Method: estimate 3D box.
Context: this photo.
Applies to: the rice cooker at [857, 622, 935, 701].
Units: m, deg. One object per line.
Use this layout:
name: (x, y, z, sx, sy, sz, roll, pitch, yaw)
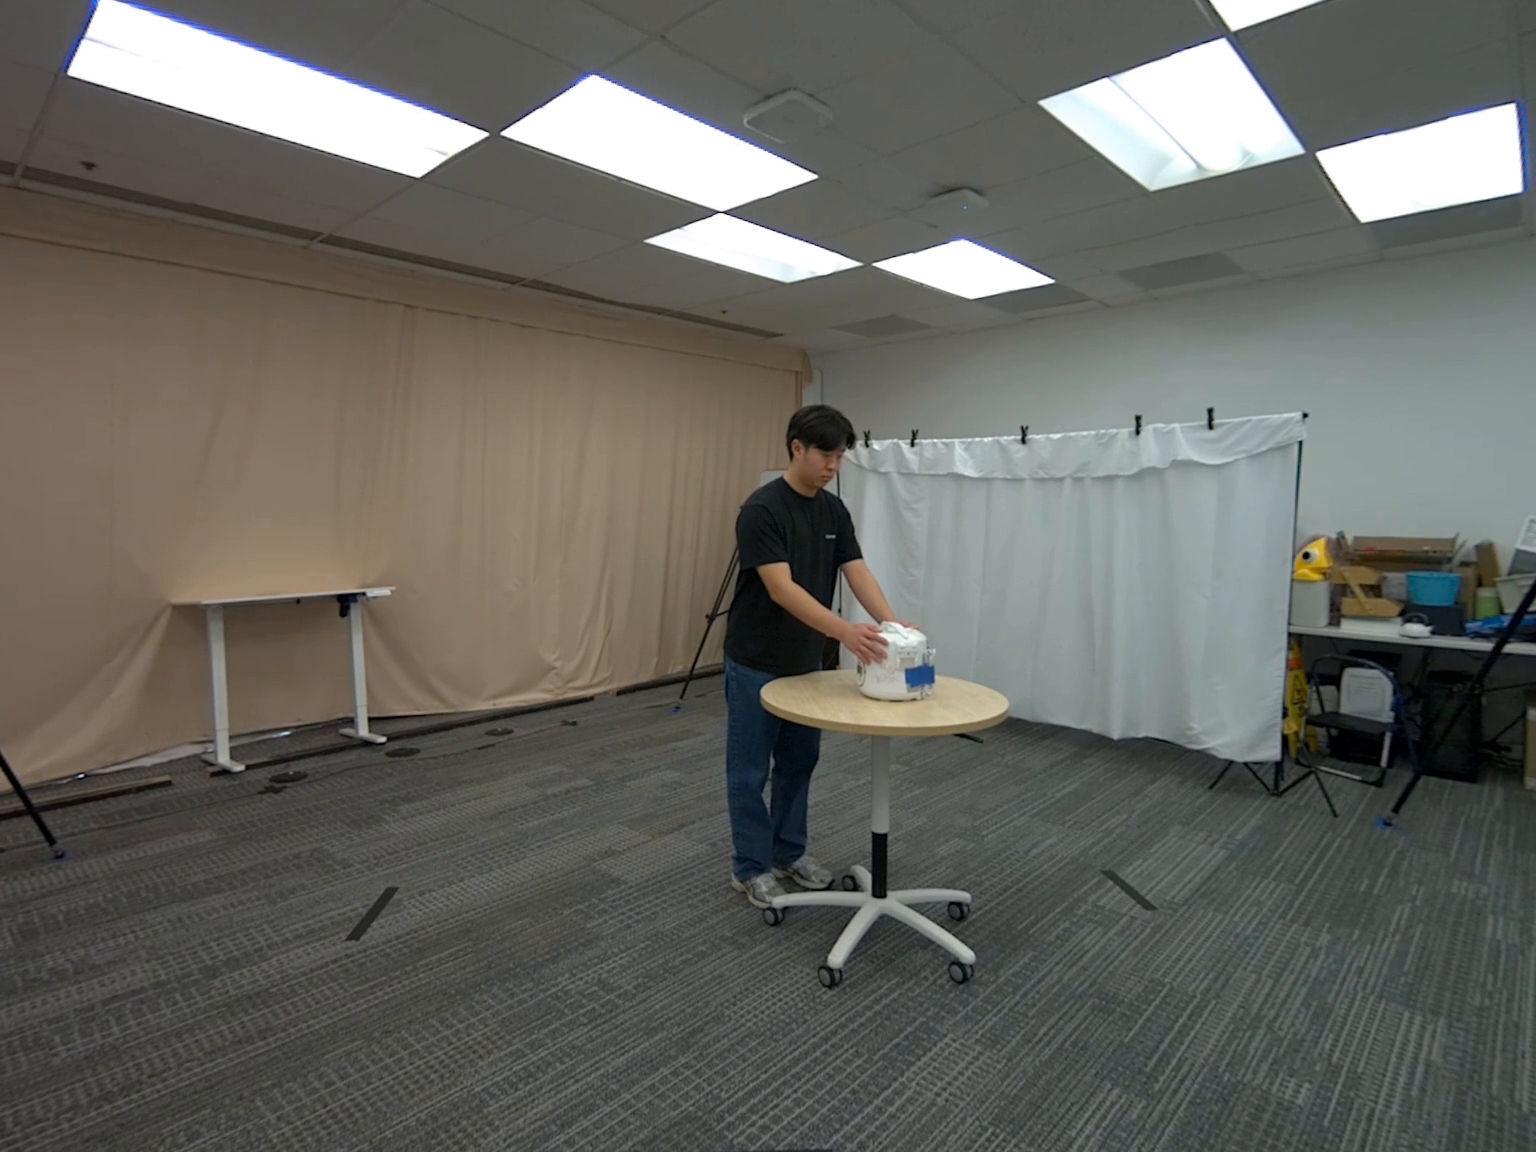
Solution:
rice cooker: (0.393, 0.261, 2.637, 0.214, 0.232, 0.224, -2, 3, -16)
